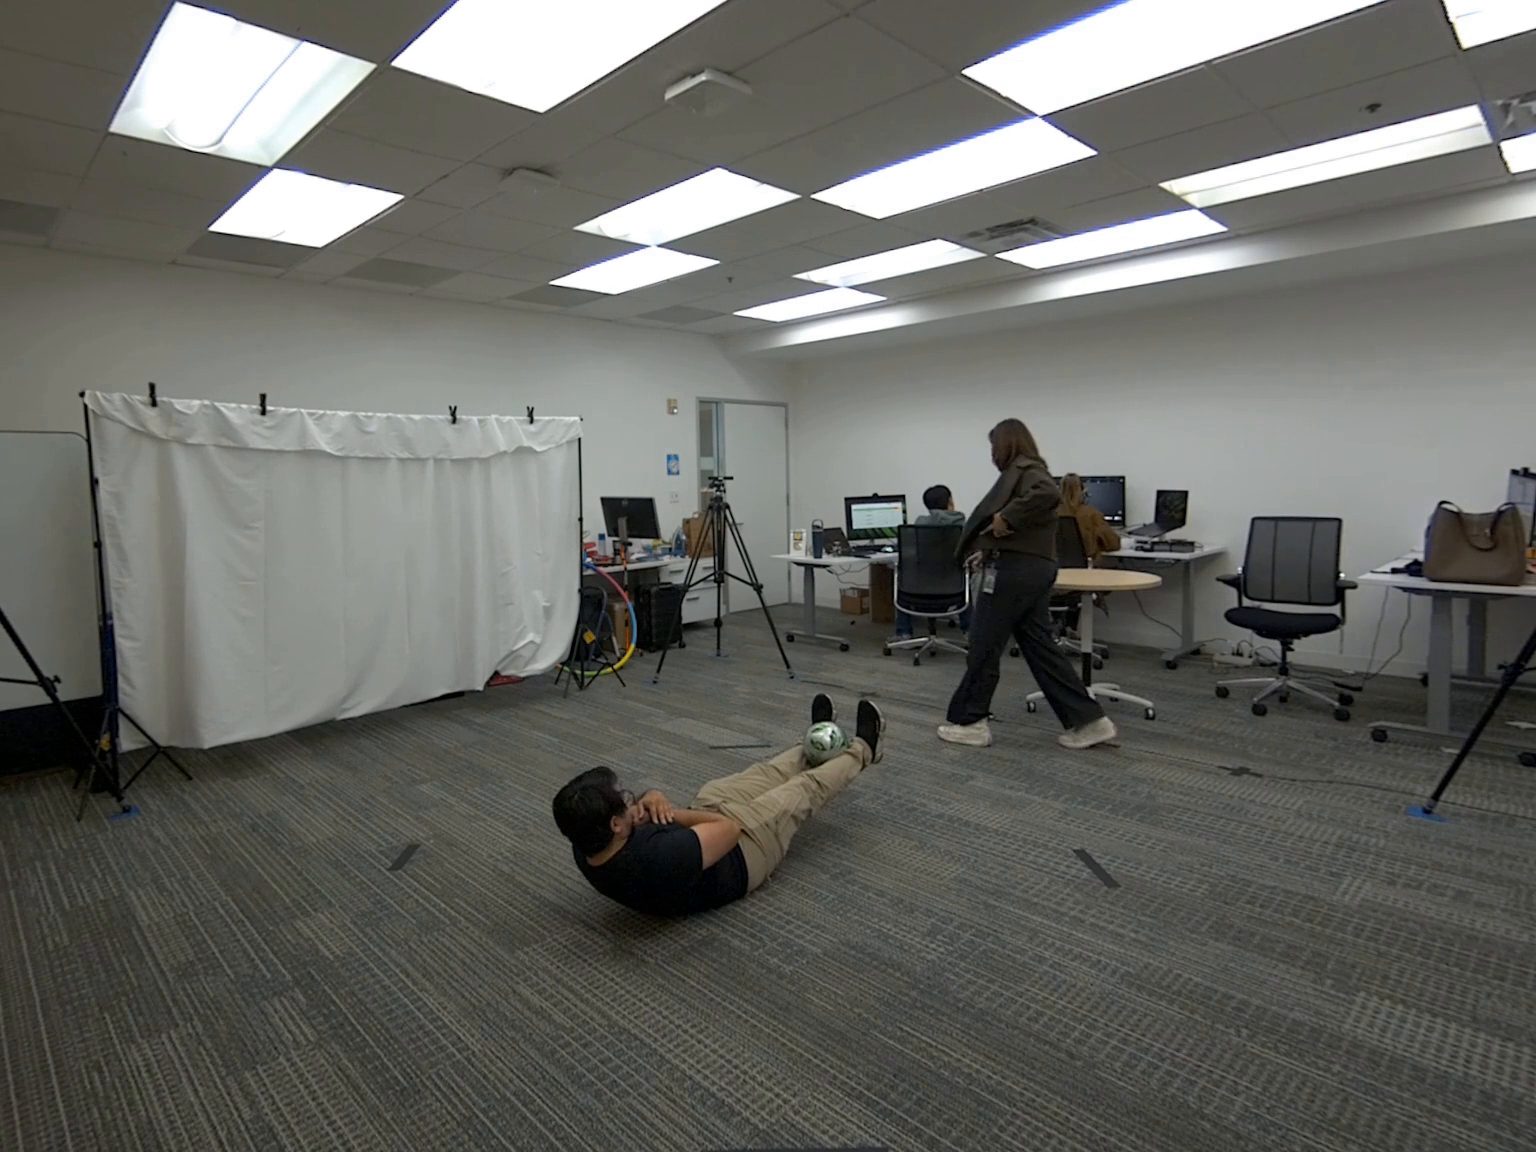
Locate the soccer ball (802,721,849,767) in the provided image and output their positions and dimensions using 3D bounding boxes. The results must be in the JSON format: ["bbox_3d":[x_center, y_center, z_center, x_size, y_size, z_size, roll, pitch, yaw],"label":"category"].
[{"bbox_3d":[0.239,0.689,3.465,0.187,0.187,0.188,-1,4,-2],"label":"soccer ball"}]
